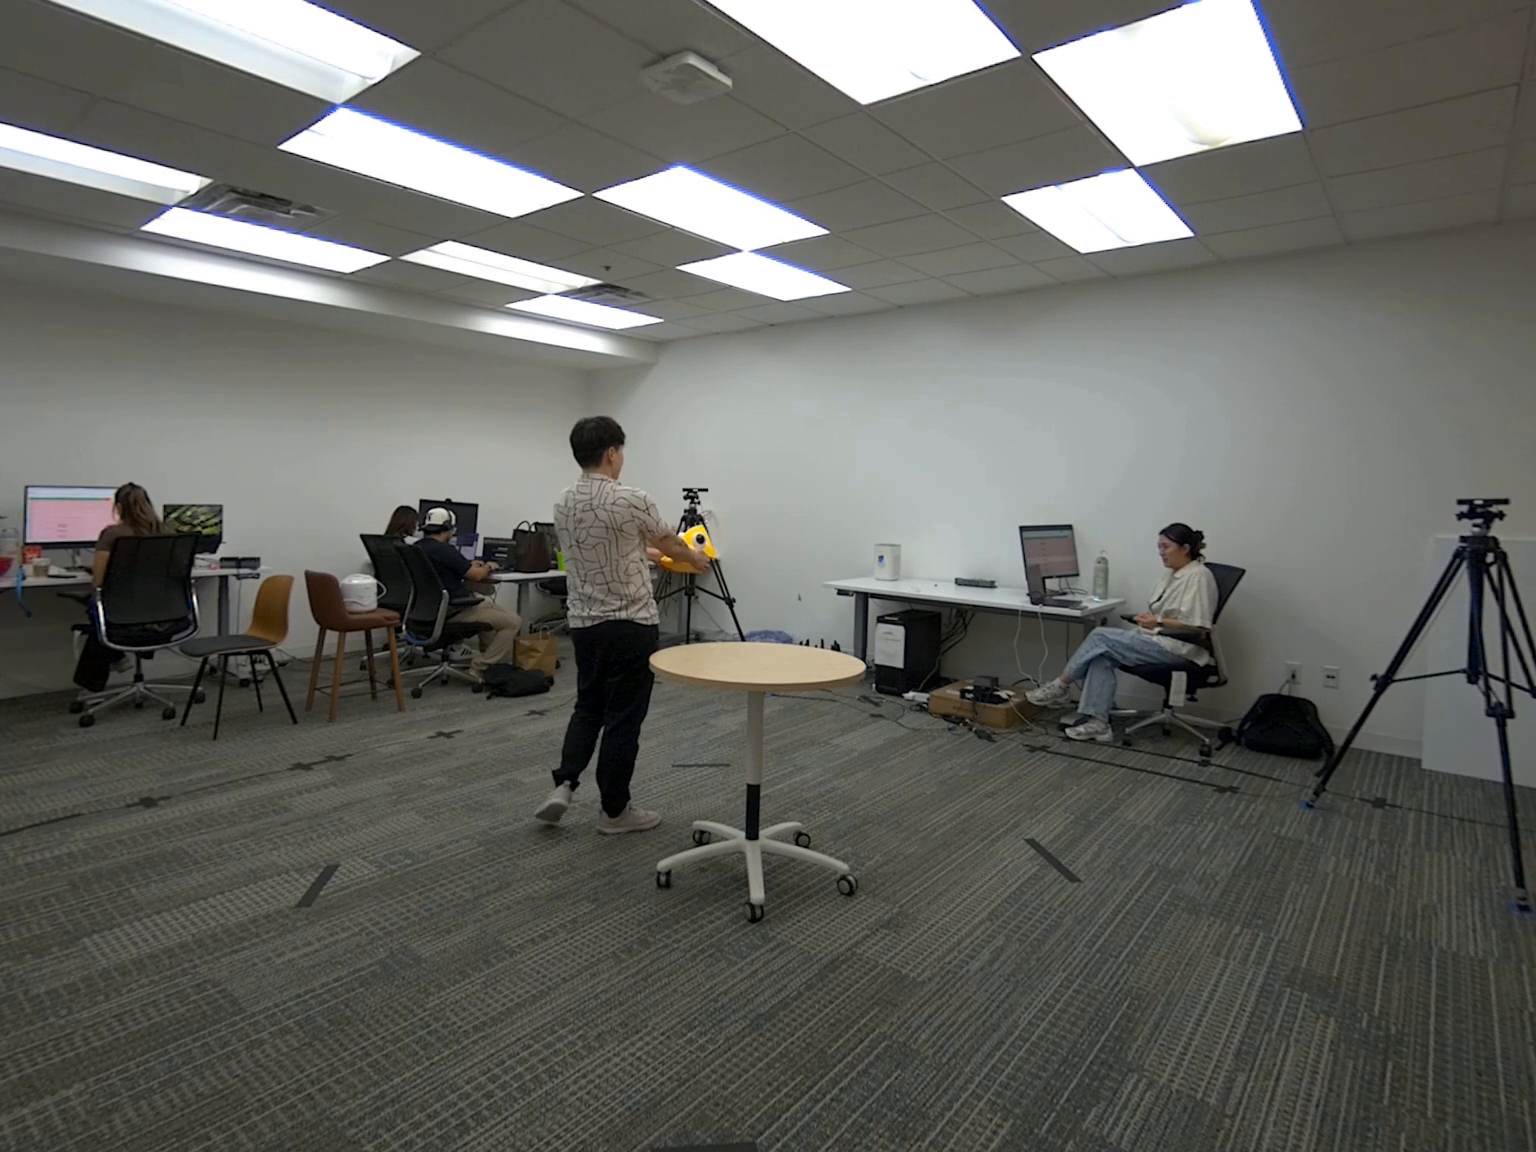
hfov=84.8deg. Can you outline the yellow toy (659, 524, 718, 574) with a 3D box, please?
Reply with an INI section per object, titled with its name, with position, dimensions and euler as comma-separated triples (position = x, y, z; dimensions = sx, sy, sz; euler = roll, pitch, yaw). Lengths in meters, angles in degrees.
[yellow toy]
position = -0.367, -0.148, 3.831
dimensions = 0.211, 0.233, 0.185
euler = 1, -21, 33
